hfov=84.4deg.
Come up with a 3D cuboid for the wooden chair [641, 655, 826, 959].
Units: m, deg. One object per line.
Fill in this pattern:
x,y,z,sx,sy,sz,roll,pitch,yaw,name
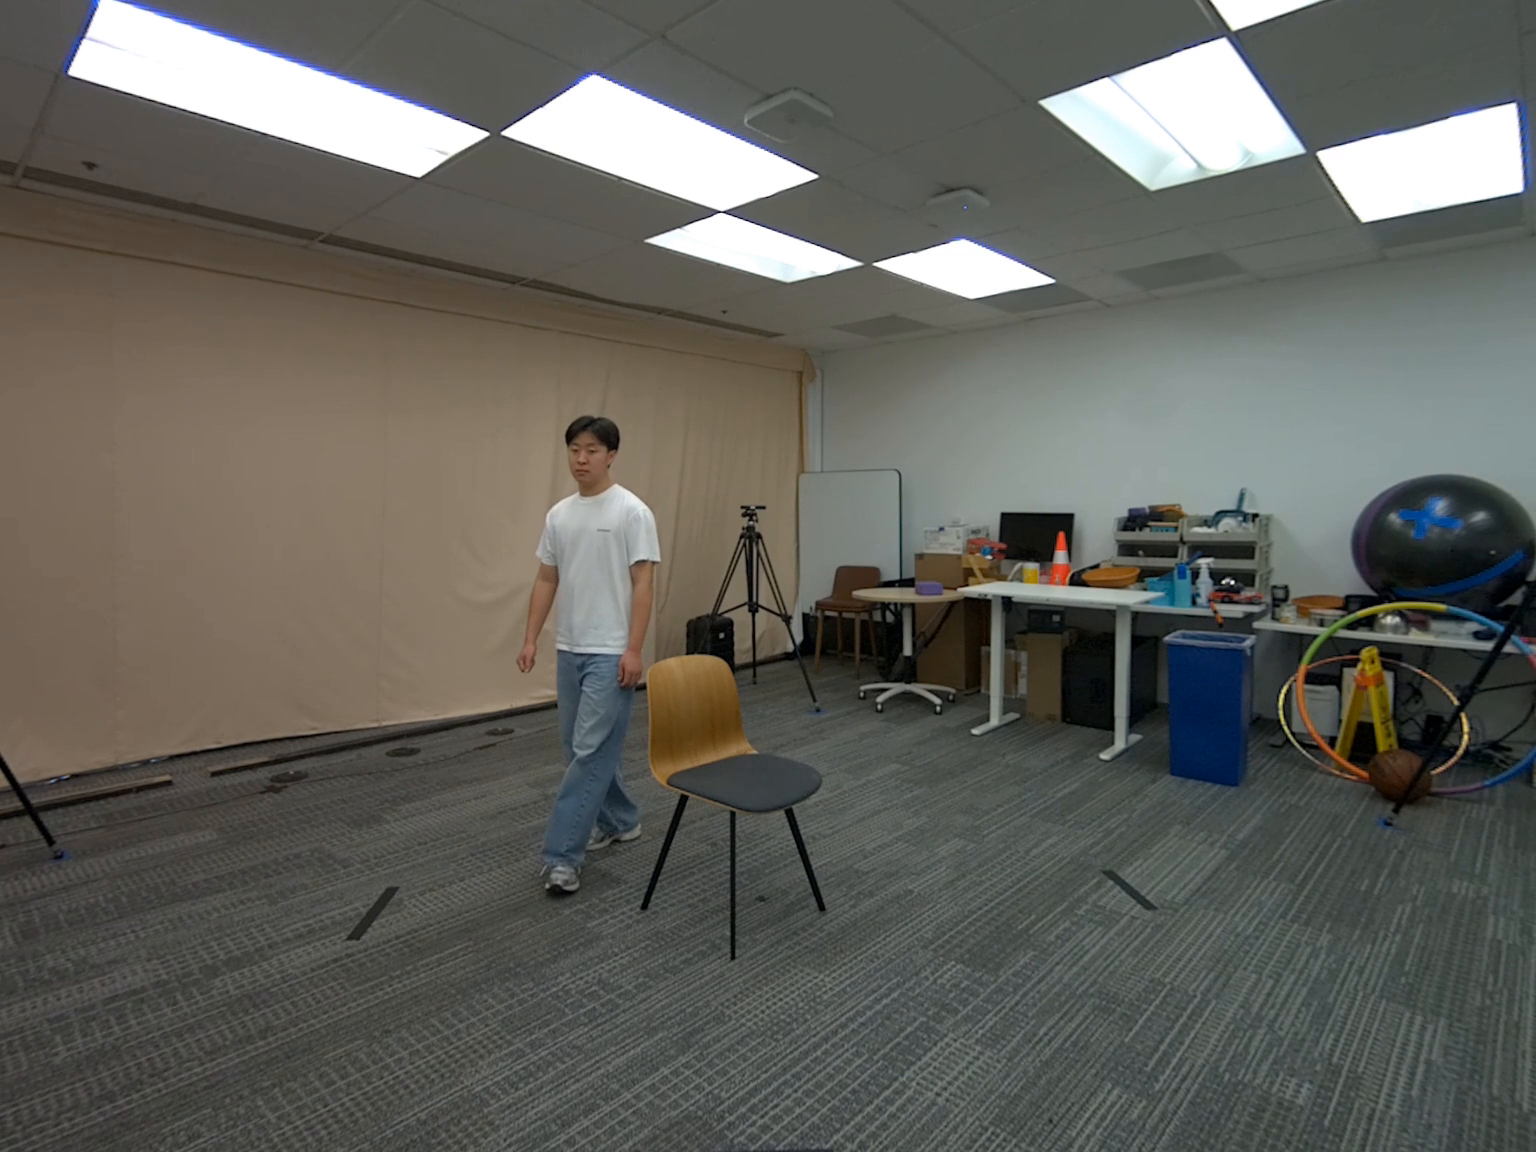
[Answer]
-0.114,0.729,2.858,0.539,0.877,0.463,-3,1,45,wooden chair
